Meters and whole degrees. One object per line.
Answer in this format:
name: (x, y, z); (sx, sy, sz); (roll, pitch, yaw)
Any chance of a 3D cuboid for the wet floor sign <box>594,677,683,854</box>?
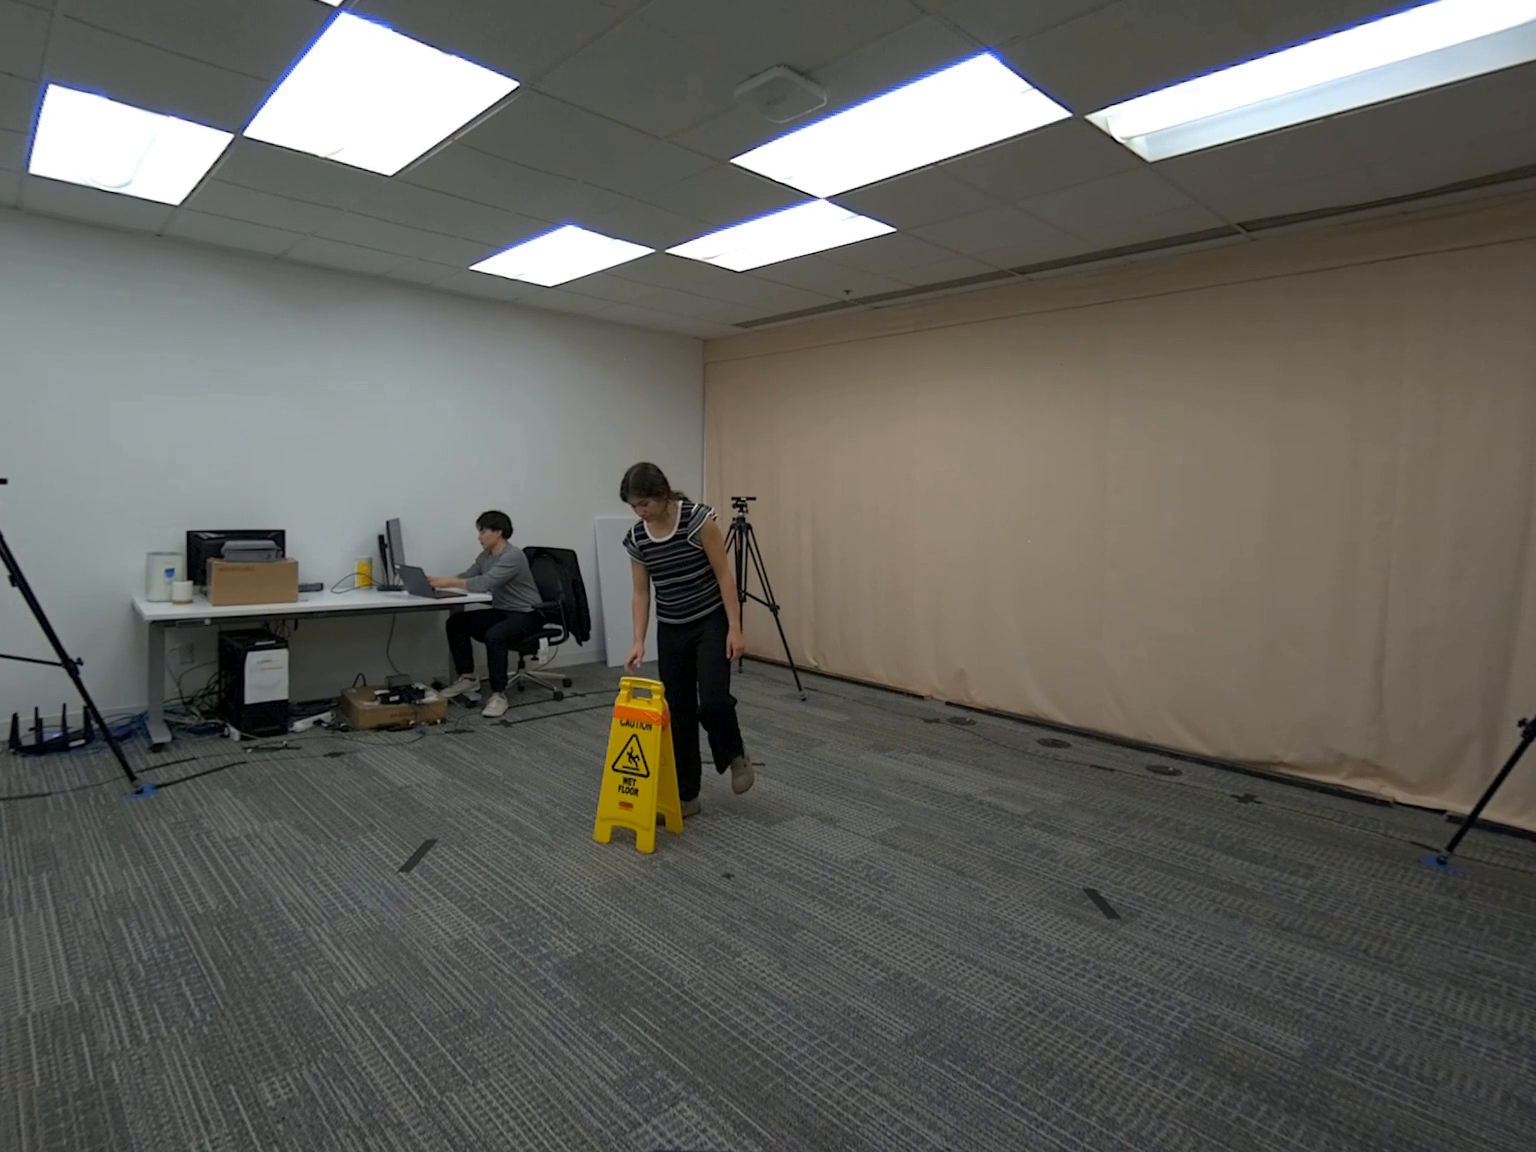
wet floor sign: (-0.528, 0.745, 3.440); (0.287, 0.645, 0.285); (4, 3, 23)
